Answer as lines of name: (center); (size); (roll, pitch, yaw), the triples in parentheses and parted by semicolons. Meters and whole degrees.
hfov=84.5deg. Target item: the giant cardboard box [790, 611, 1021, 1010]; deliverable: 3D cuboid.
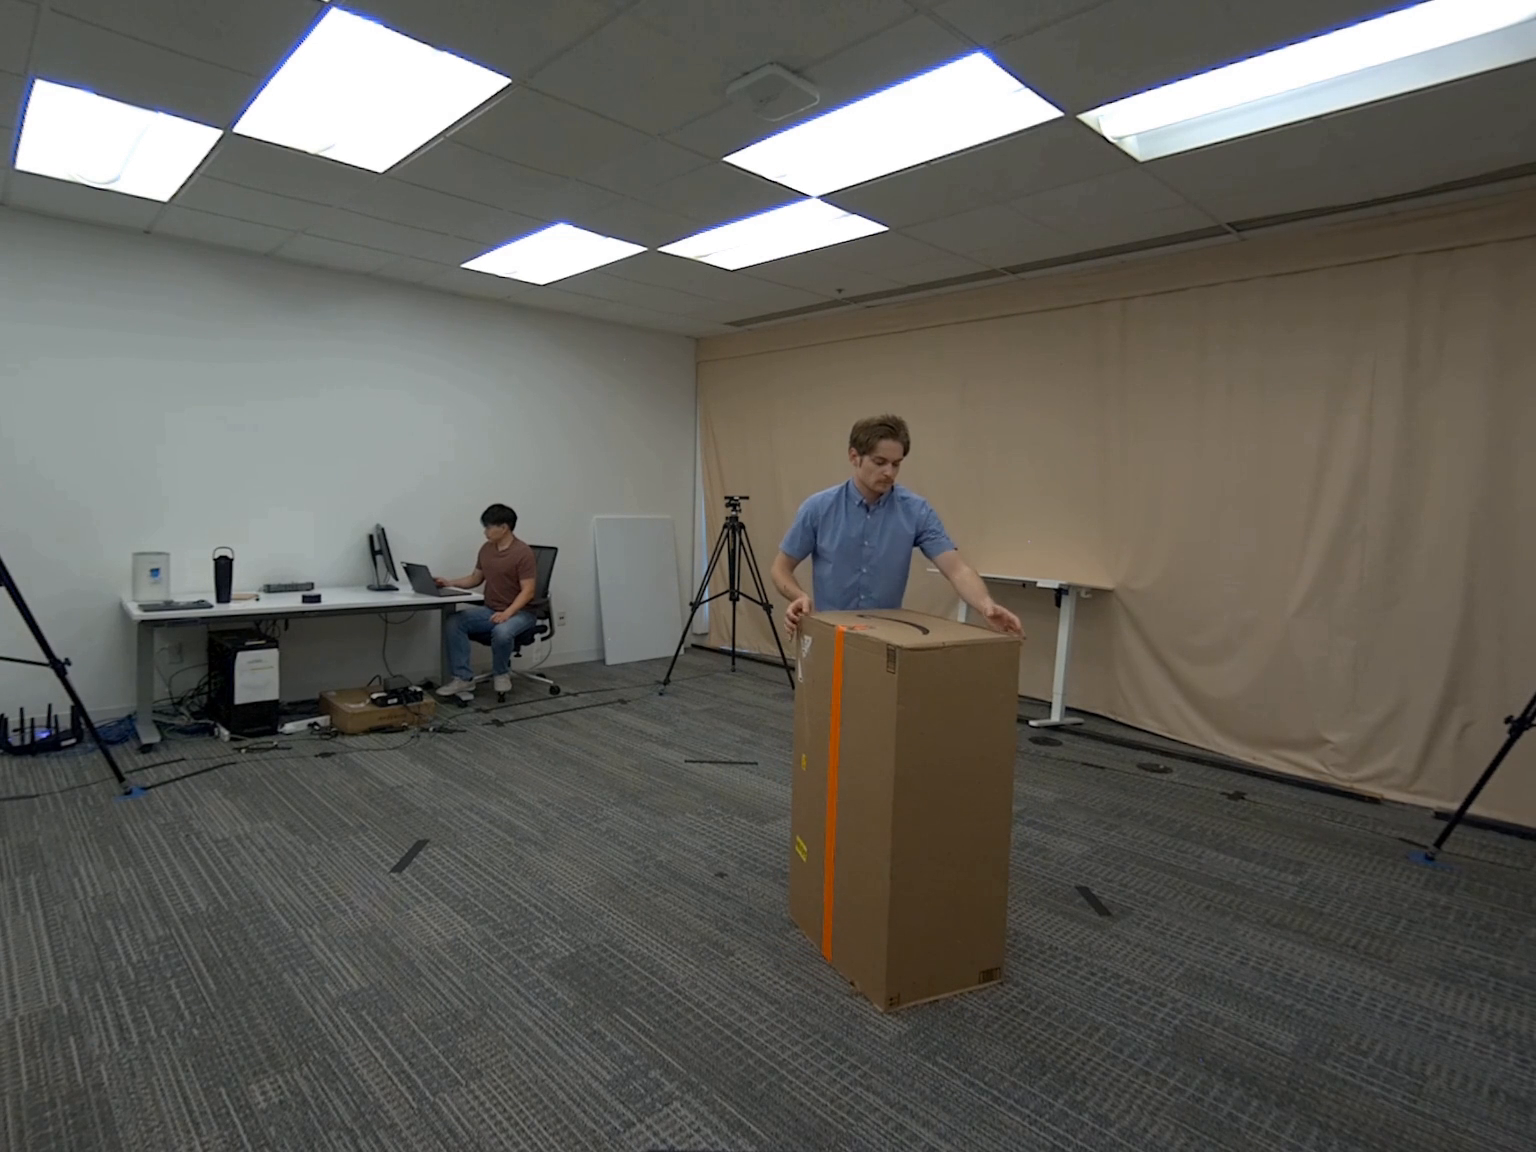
giant cardboard box: (0.389, 0.658, 2.587); (0.419, 1.022, 0.589); (0, 5, -25)
